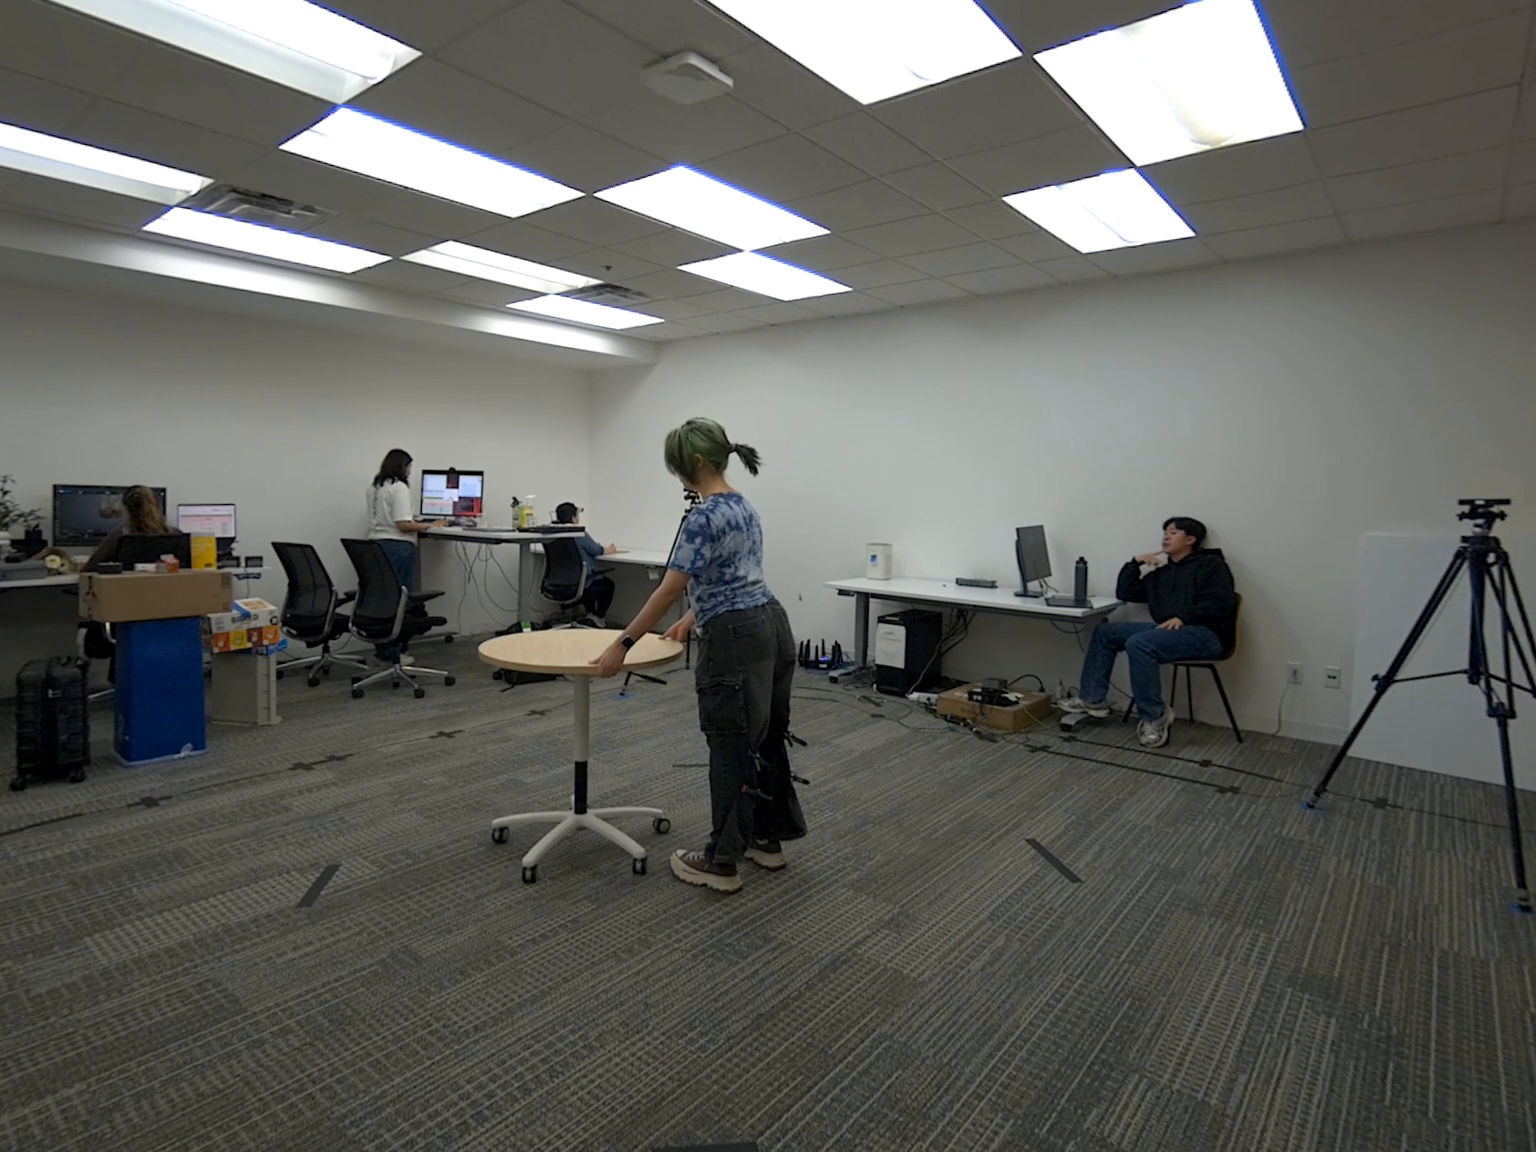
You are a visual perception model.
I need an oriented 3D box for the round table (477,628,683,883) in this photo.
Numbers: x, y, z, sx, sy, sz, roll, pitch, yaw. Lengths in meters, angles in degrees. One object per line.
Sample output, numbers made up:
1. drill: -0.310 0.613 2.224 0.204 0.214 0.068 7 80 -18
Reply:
1. round table: -0.720 0.657 3.255 0.763 0.792 0.767 1 4 -2
